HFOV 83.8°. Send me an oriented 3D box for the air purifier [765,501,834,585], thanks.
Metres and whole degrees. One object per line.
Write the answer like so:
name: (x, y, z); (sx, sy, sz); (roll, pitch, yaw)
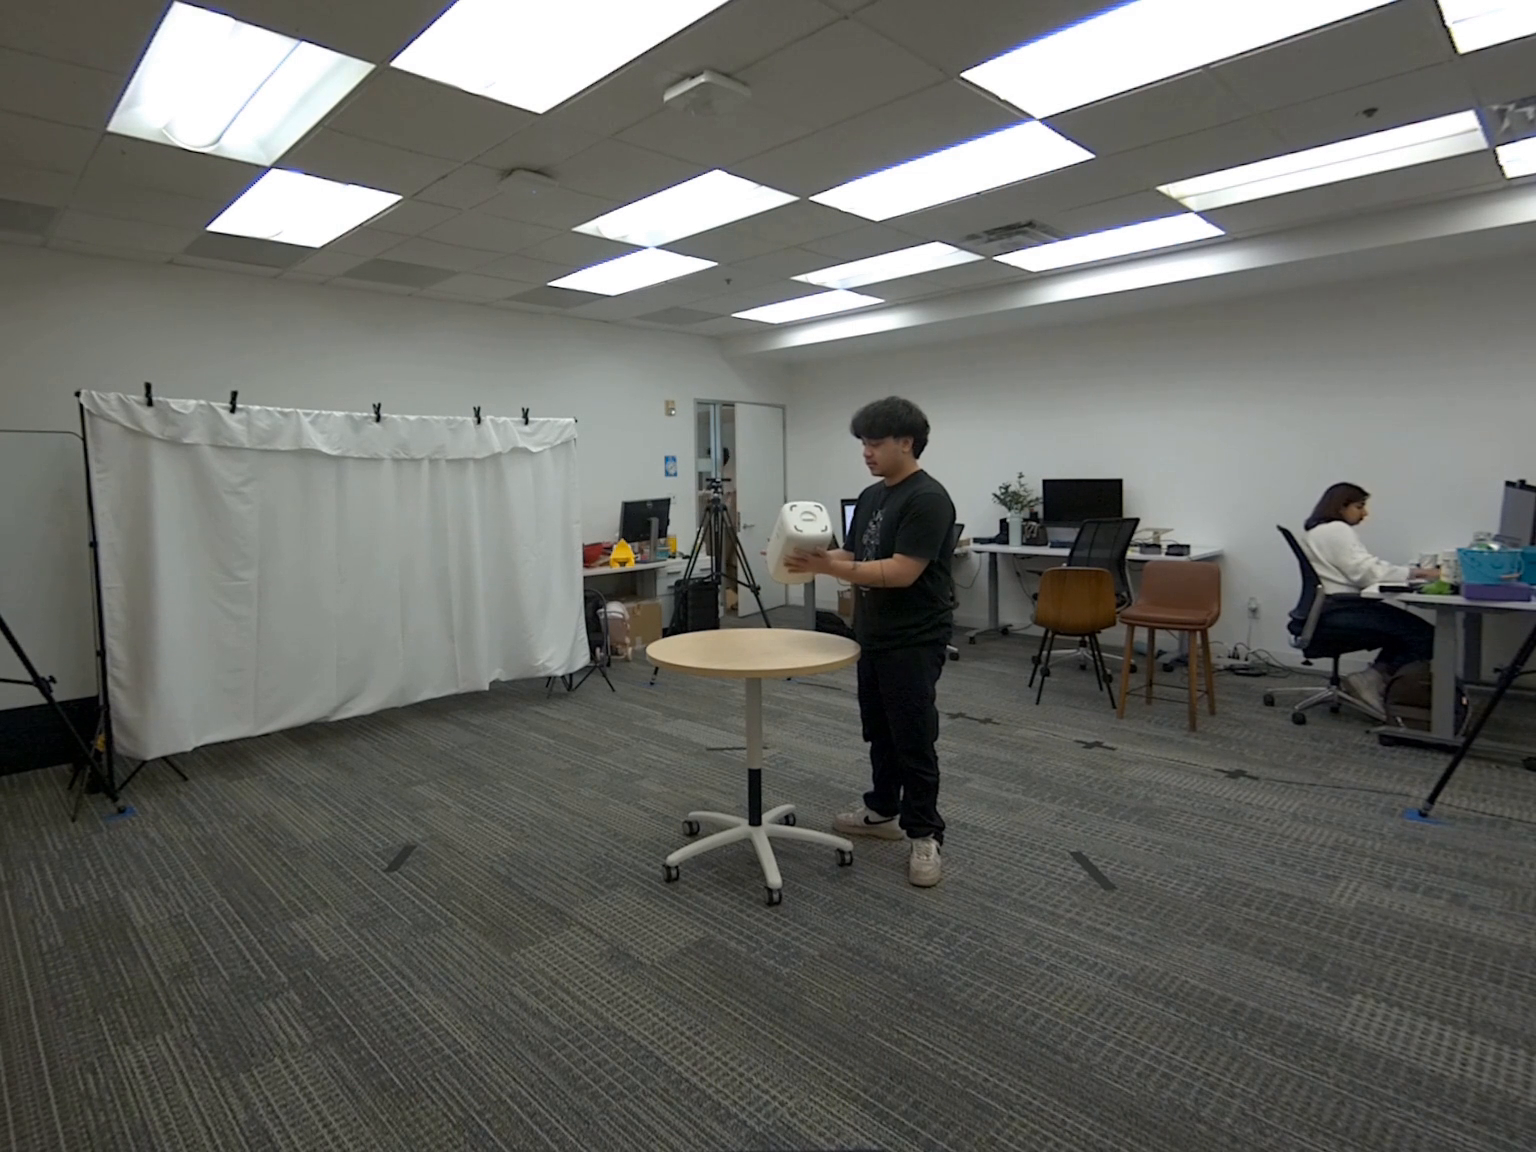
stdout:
air purifier: (0.108, -0.120, 2.953); (0.169, 0.176, 0.261); (0, -37, -16)
